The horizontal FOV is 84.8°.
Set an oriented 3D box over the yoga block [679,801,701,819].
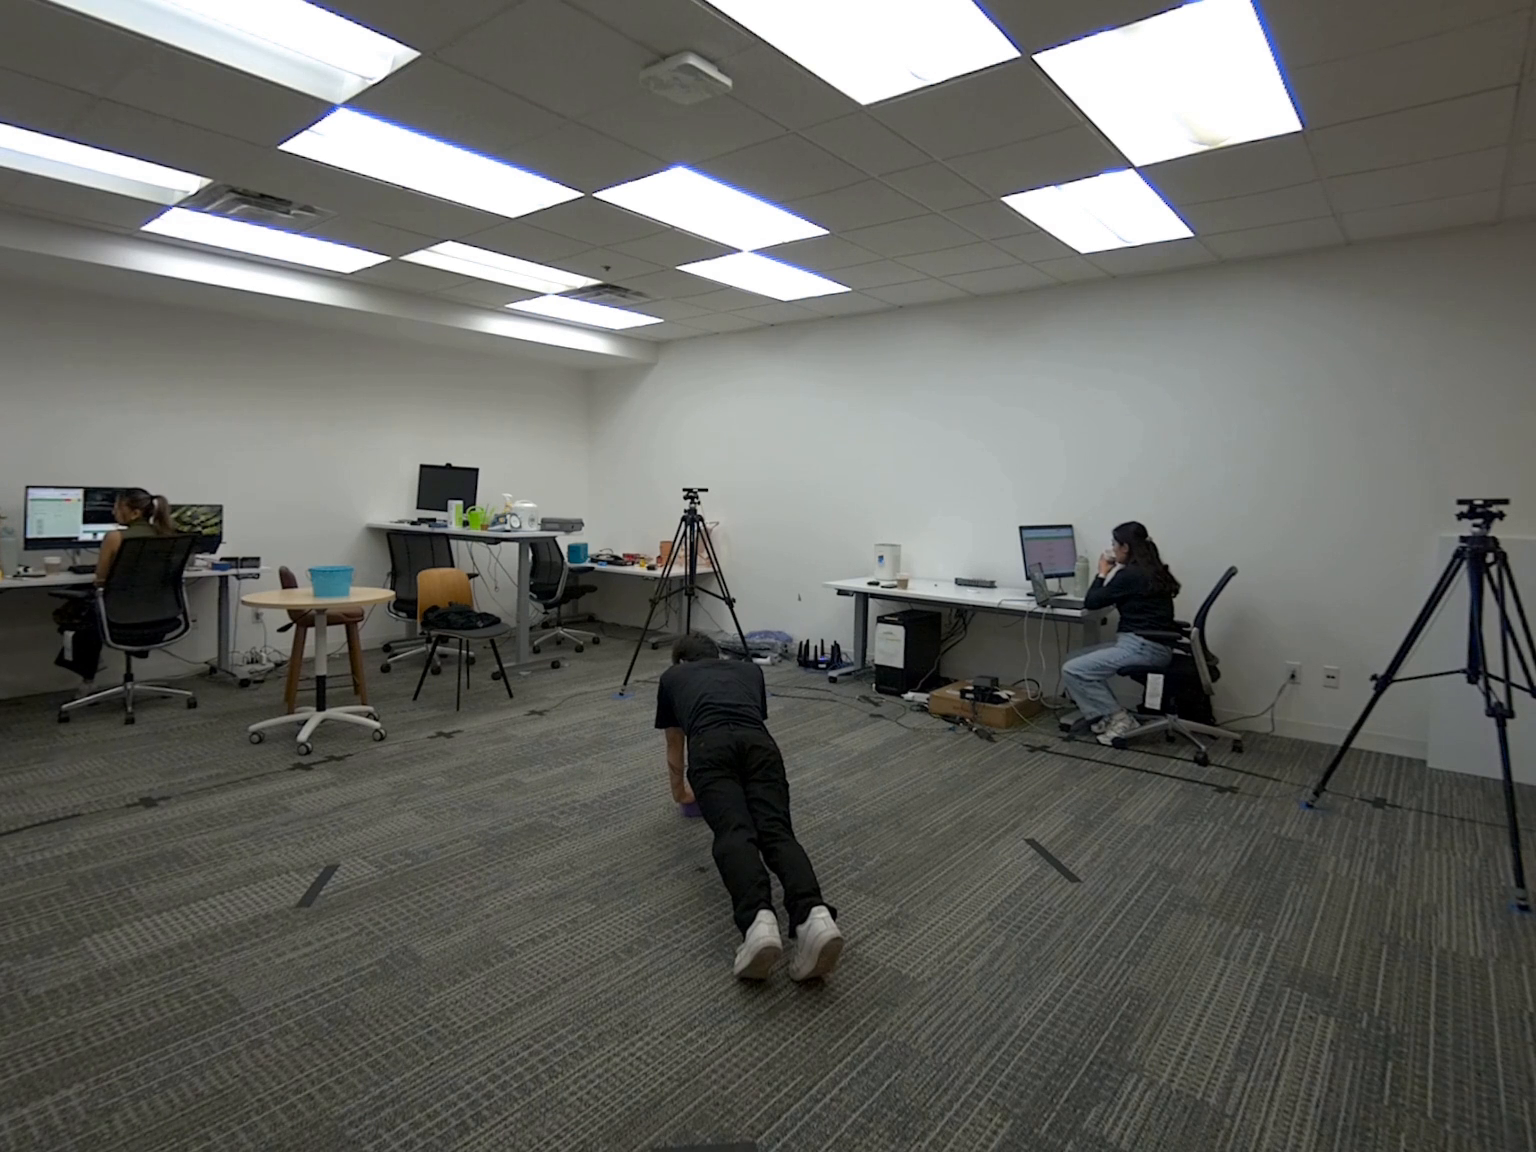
[{"bbox_3d":[-0.267,0.967,3.686,0.226,0.076,0.151,-1,6,-12],"label":"yoga block"}]
